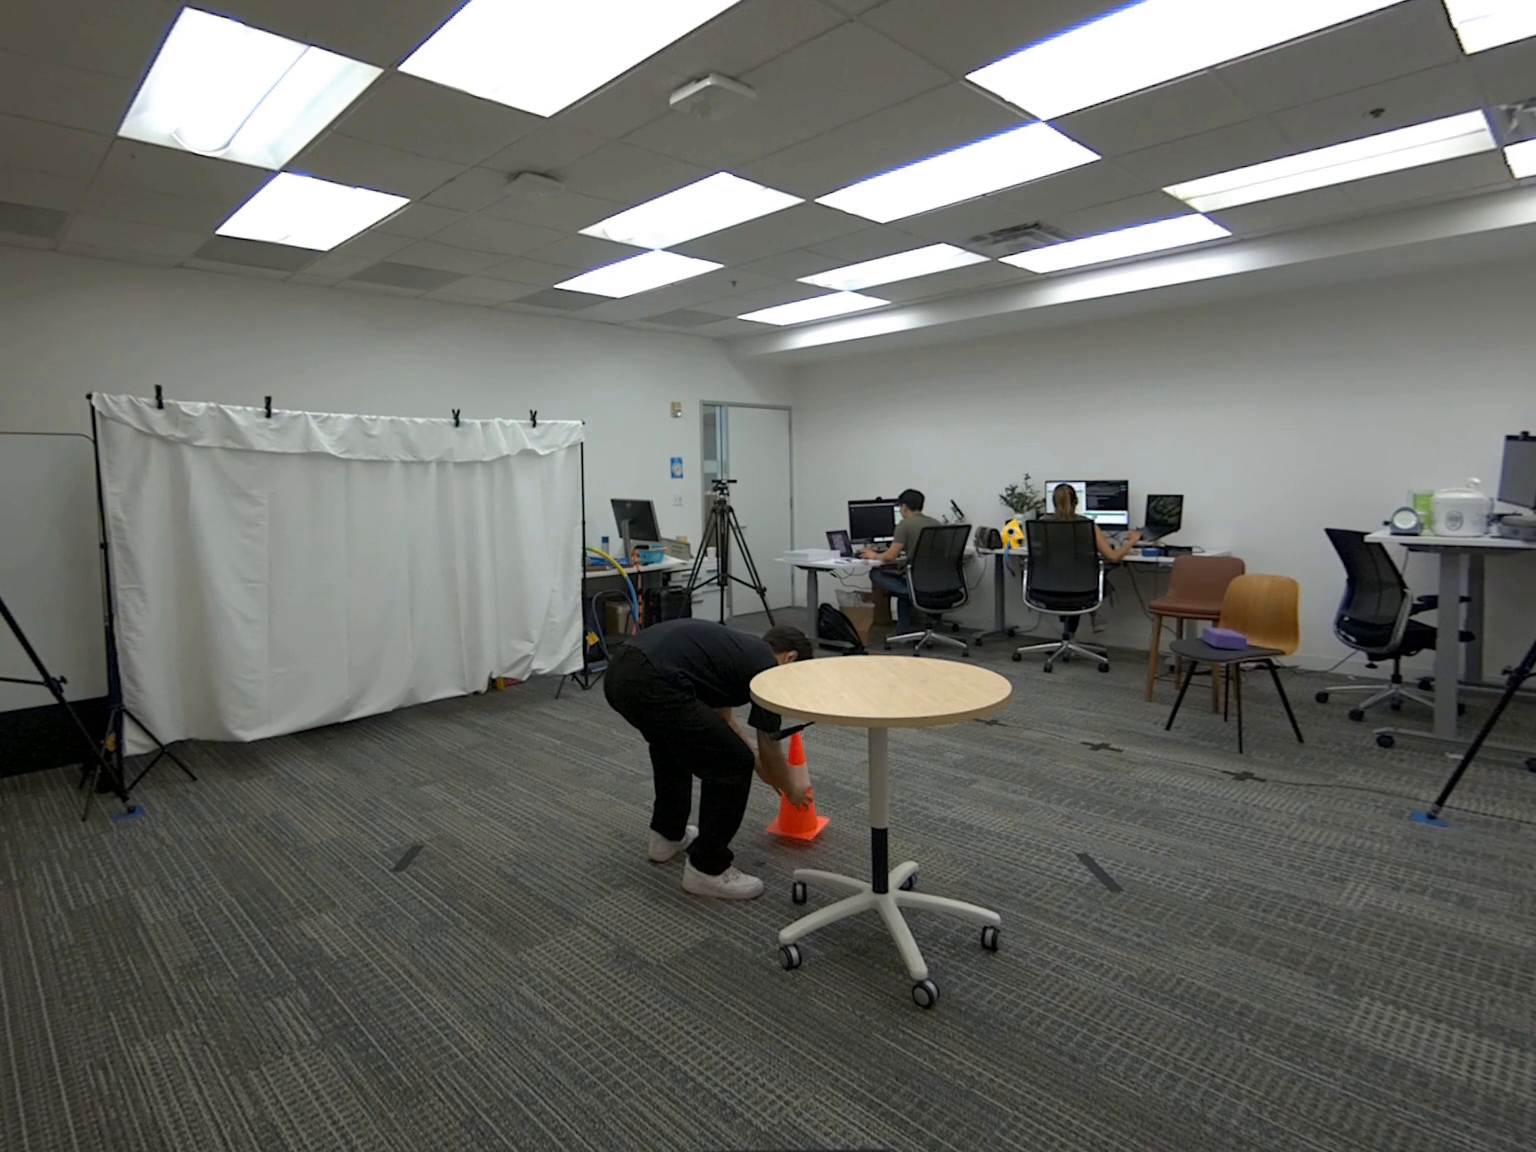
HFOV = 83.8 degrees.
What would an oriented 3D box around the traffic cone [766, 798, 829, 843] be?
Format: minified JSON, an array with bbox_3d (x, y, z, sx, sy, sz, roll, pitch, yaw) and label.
[{"bbox_3d":[0.110,0.793,3.318,0.208,0.381,0.201,1,8,28],"label":"traffic cone"}]
